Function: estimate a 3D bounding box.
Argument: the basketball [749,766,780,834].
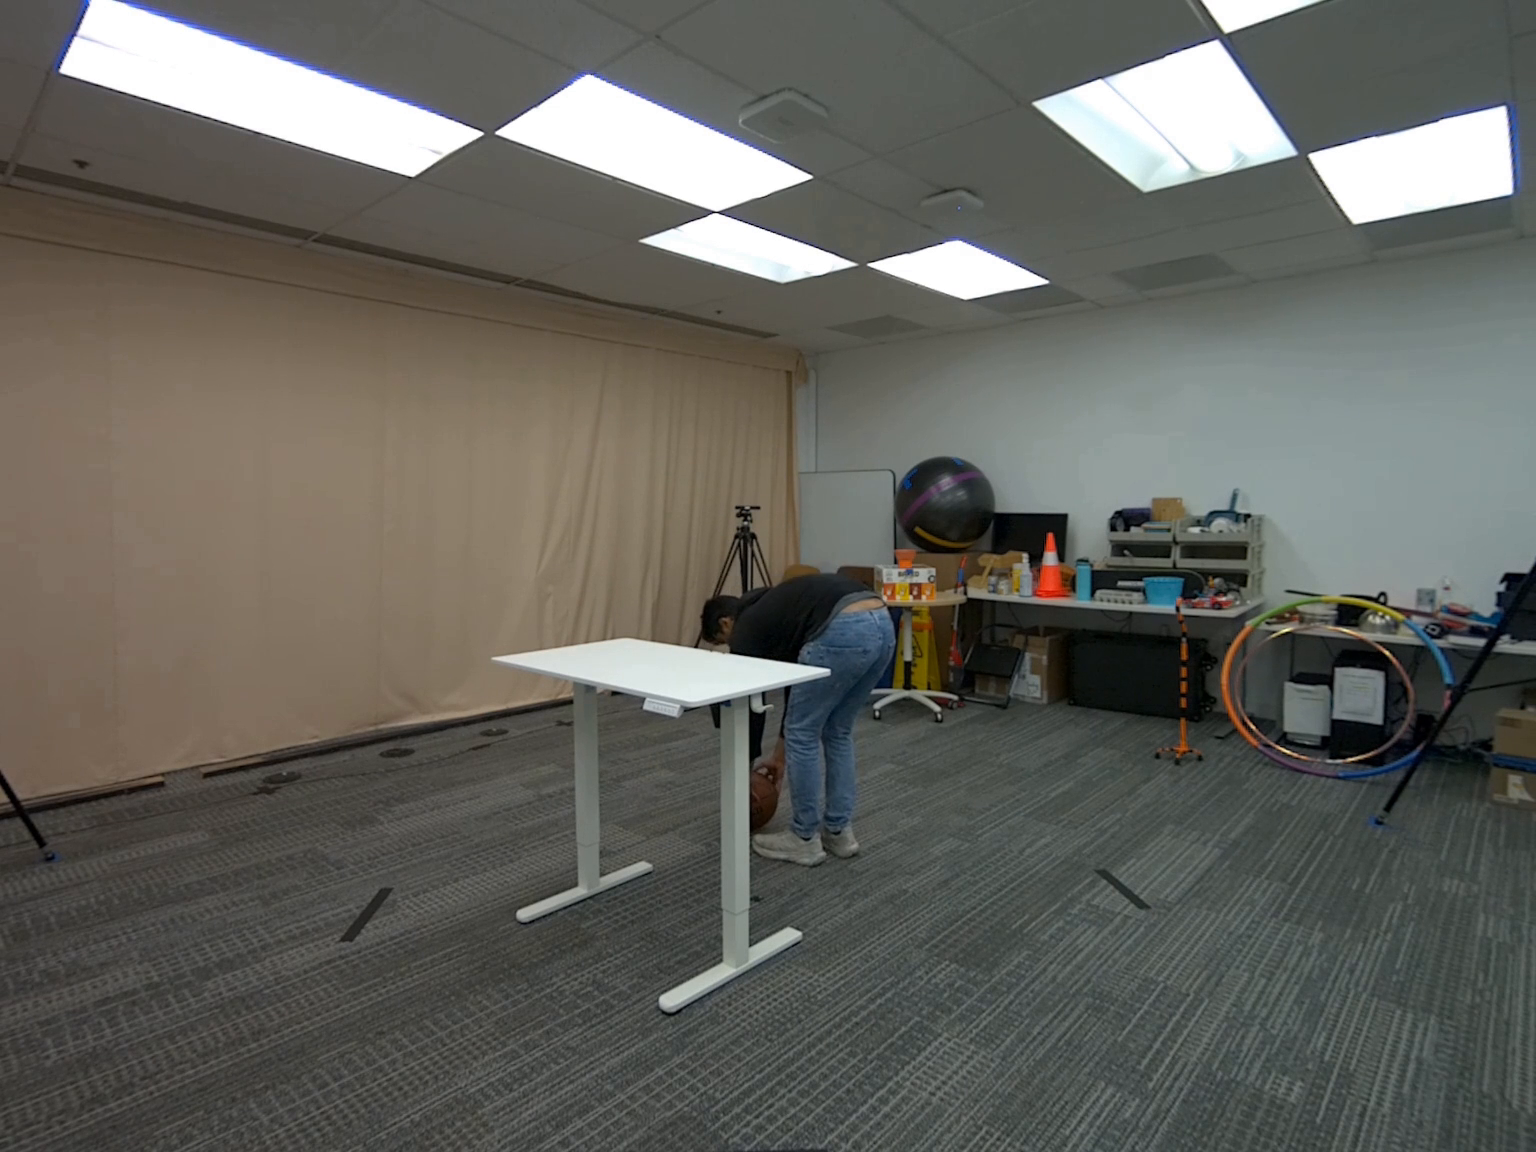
[{"bbox_3d":[-0.070,0.945,3.639,0.236,0.235,0.237,0,4,-2],"label":"basketball"}]
